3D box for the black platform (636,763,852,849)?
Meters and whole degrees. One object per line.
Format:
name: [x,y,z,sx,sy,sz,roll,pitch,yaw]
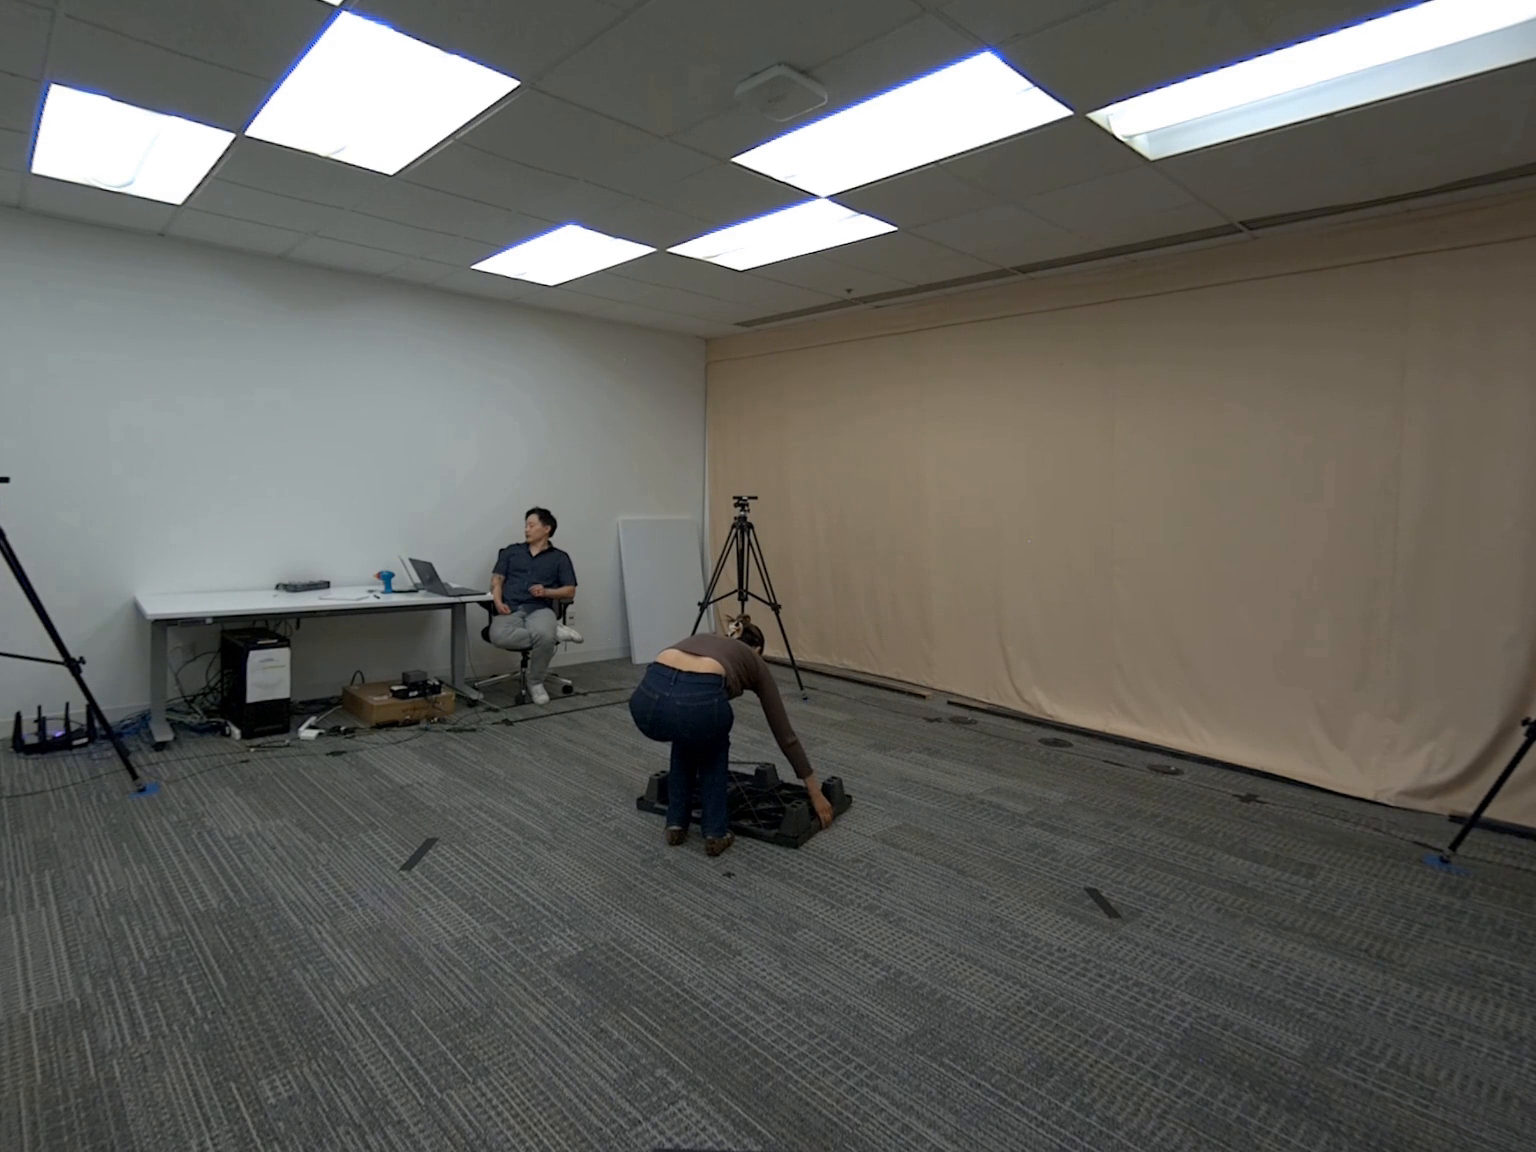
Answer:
black platform: [-0.102,0.972,3.795,0.823,0.143,0.594,5,7,29]
